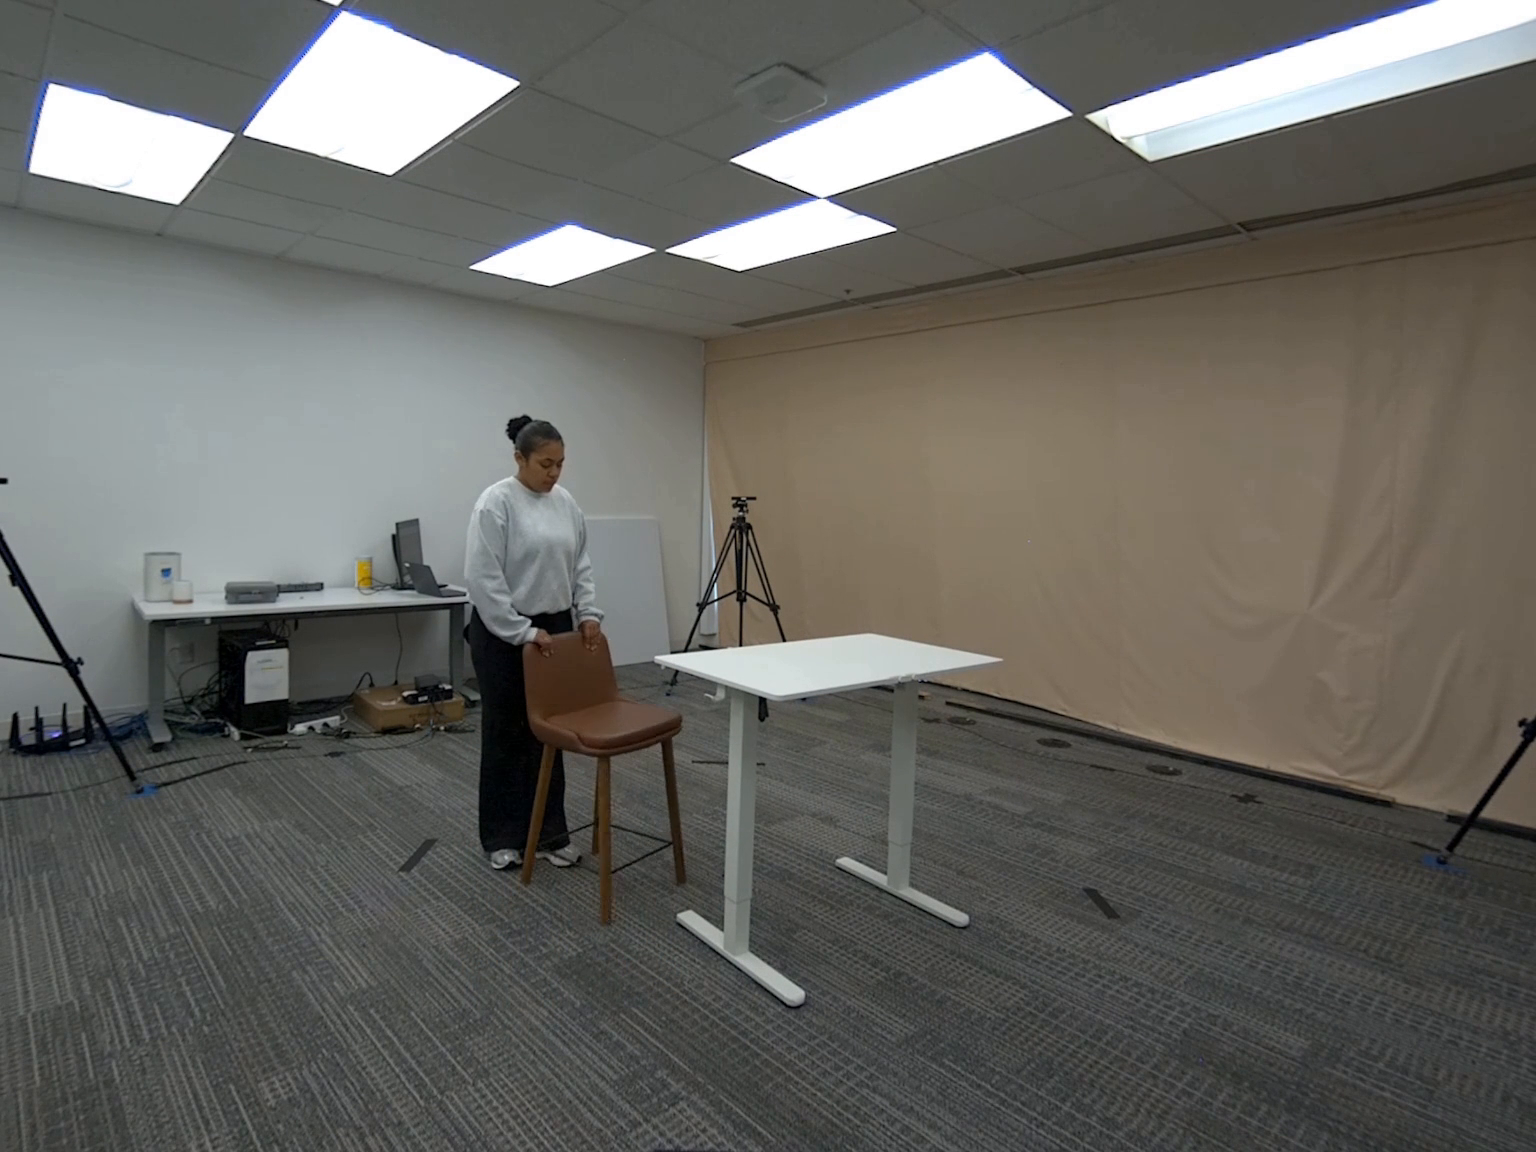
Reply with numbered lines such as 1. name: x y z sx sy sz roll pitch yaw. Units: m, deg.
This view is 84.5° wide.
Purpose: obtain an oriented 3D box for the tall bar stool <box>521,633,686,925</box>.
1. tall bar stool: -0.594 0.664 2.999 0.478 0.889 0.446 0 2 36
